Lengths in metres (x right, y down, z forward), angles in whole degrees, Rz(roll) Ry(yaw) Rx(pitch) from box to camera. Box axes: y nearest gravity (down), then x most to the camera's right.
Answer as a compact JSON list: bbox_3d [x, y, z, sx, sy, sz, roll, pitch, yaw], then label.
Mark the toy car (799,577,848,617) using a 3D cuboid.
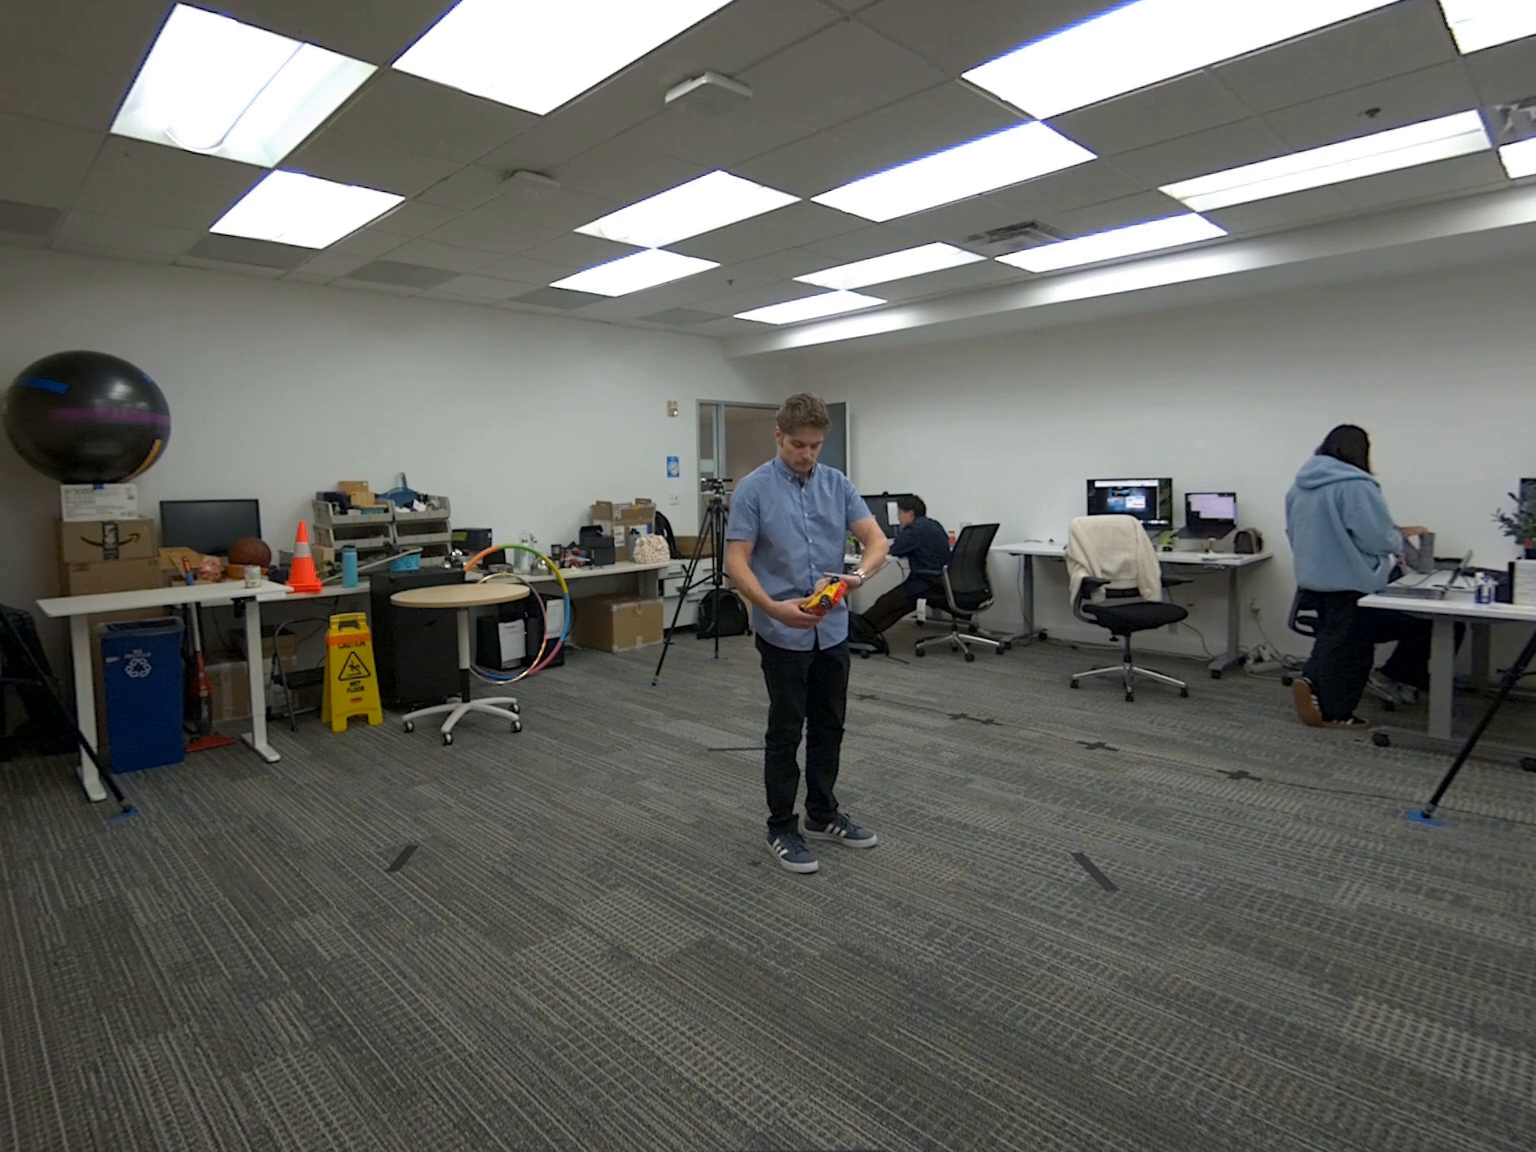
[{"bbox_3d":[0.165,0.091,2.850,0.083,0.131,0.253,36,-36,-1],"label":"toy car"}]
